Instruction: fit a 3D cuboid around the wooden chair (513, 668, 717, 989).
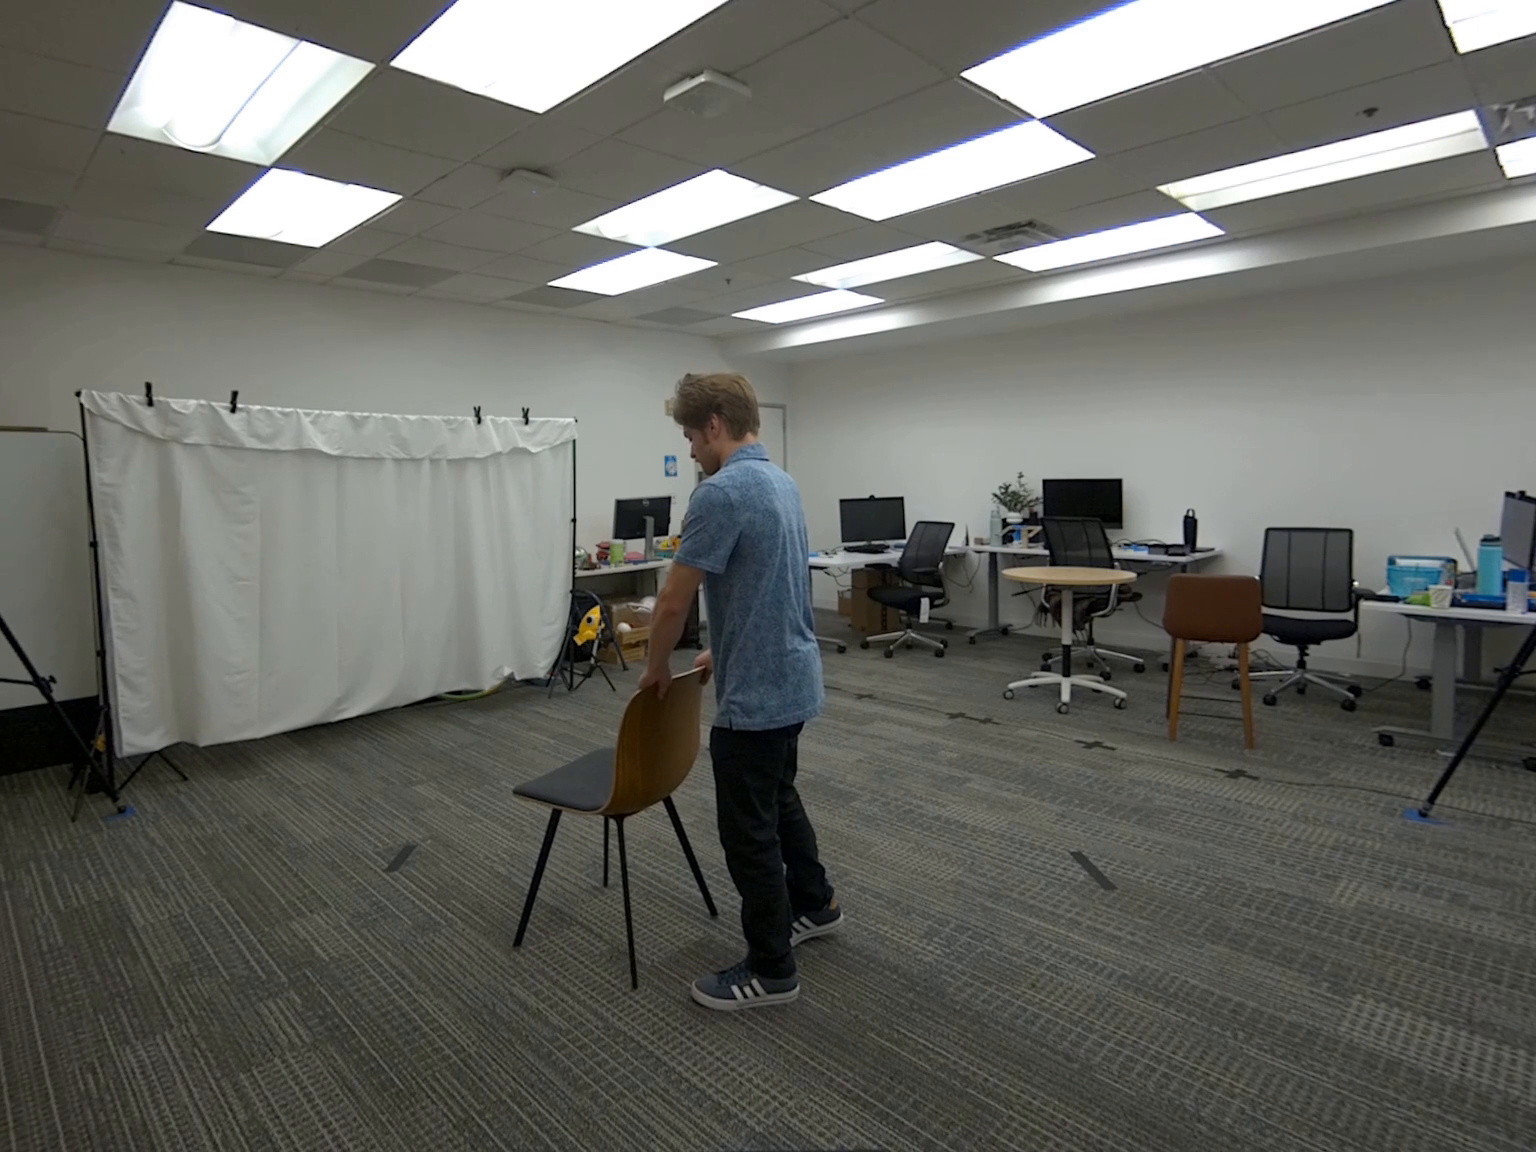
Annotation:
[{"bbox_3d":[-0.474,0.676,2.624,0.537,0.872,0.468,7,8,28],"label":"wooden chair"}]
